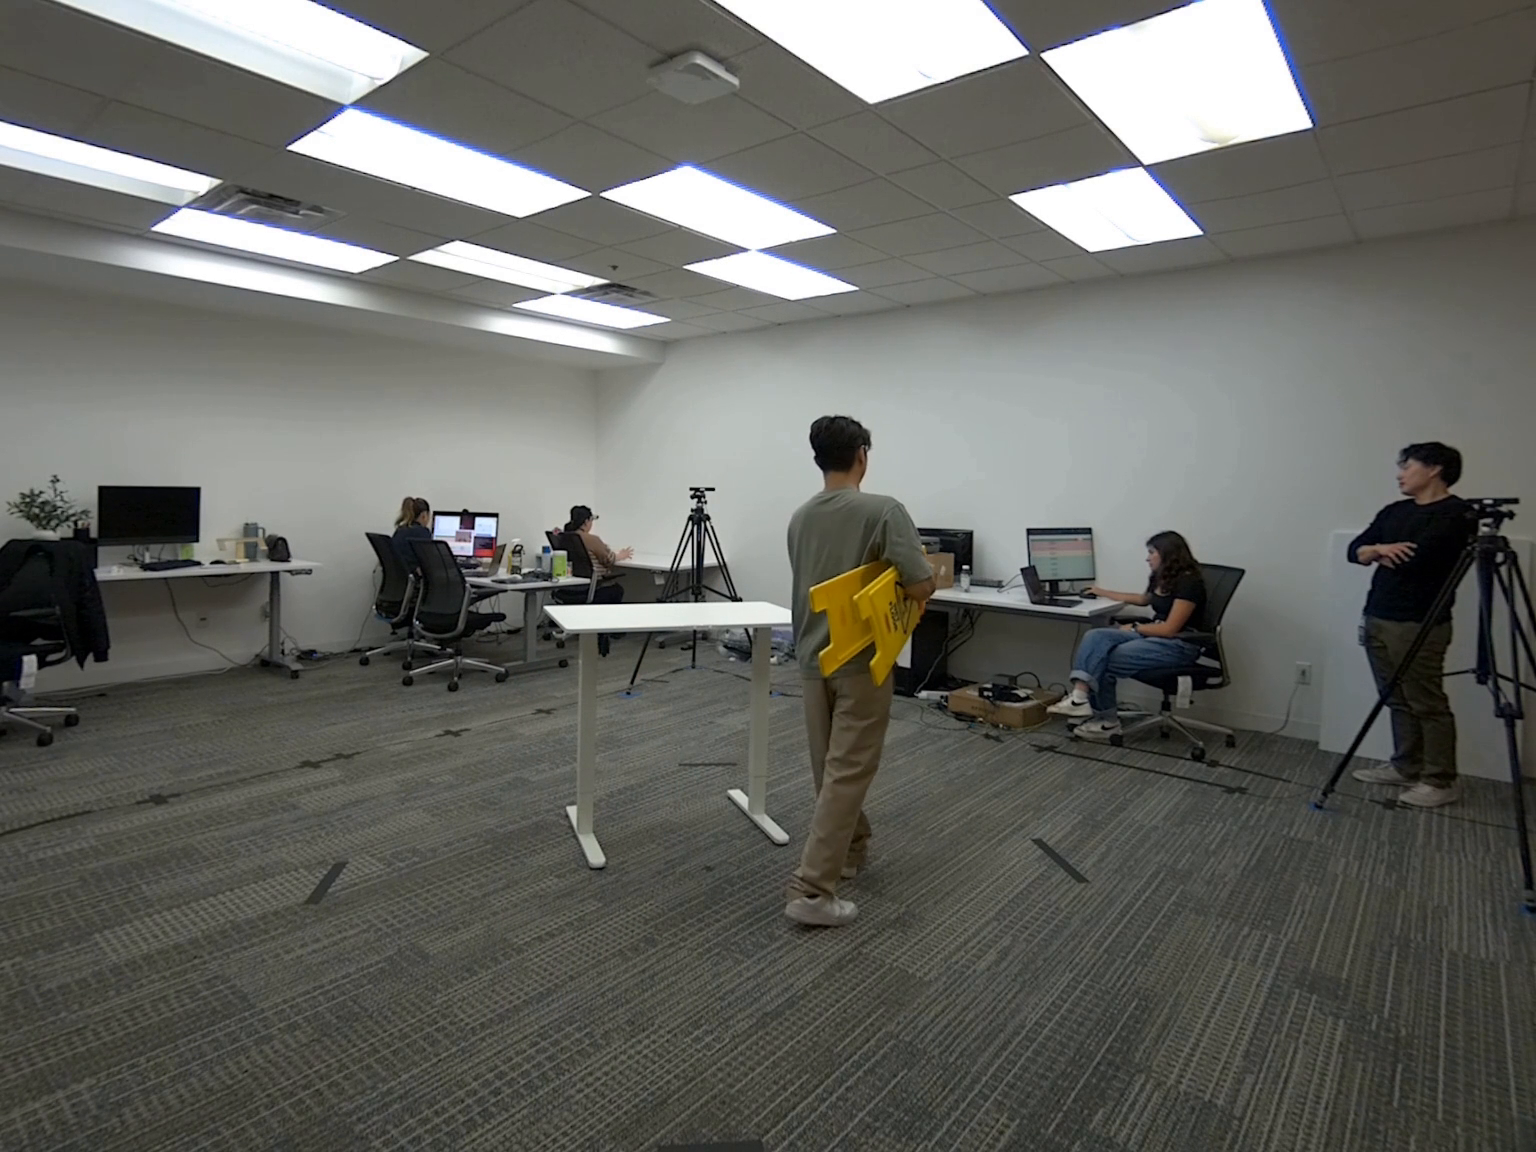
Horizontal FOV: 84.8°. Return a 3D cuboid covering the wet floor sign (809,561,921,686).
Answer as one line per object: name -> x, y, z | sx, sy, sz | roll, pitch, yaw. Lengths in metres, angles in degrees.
wet floor sign -> 0.368, 0.081, 2.761 | 0.299, 0.278, 0.636 | 1, 18, 37
